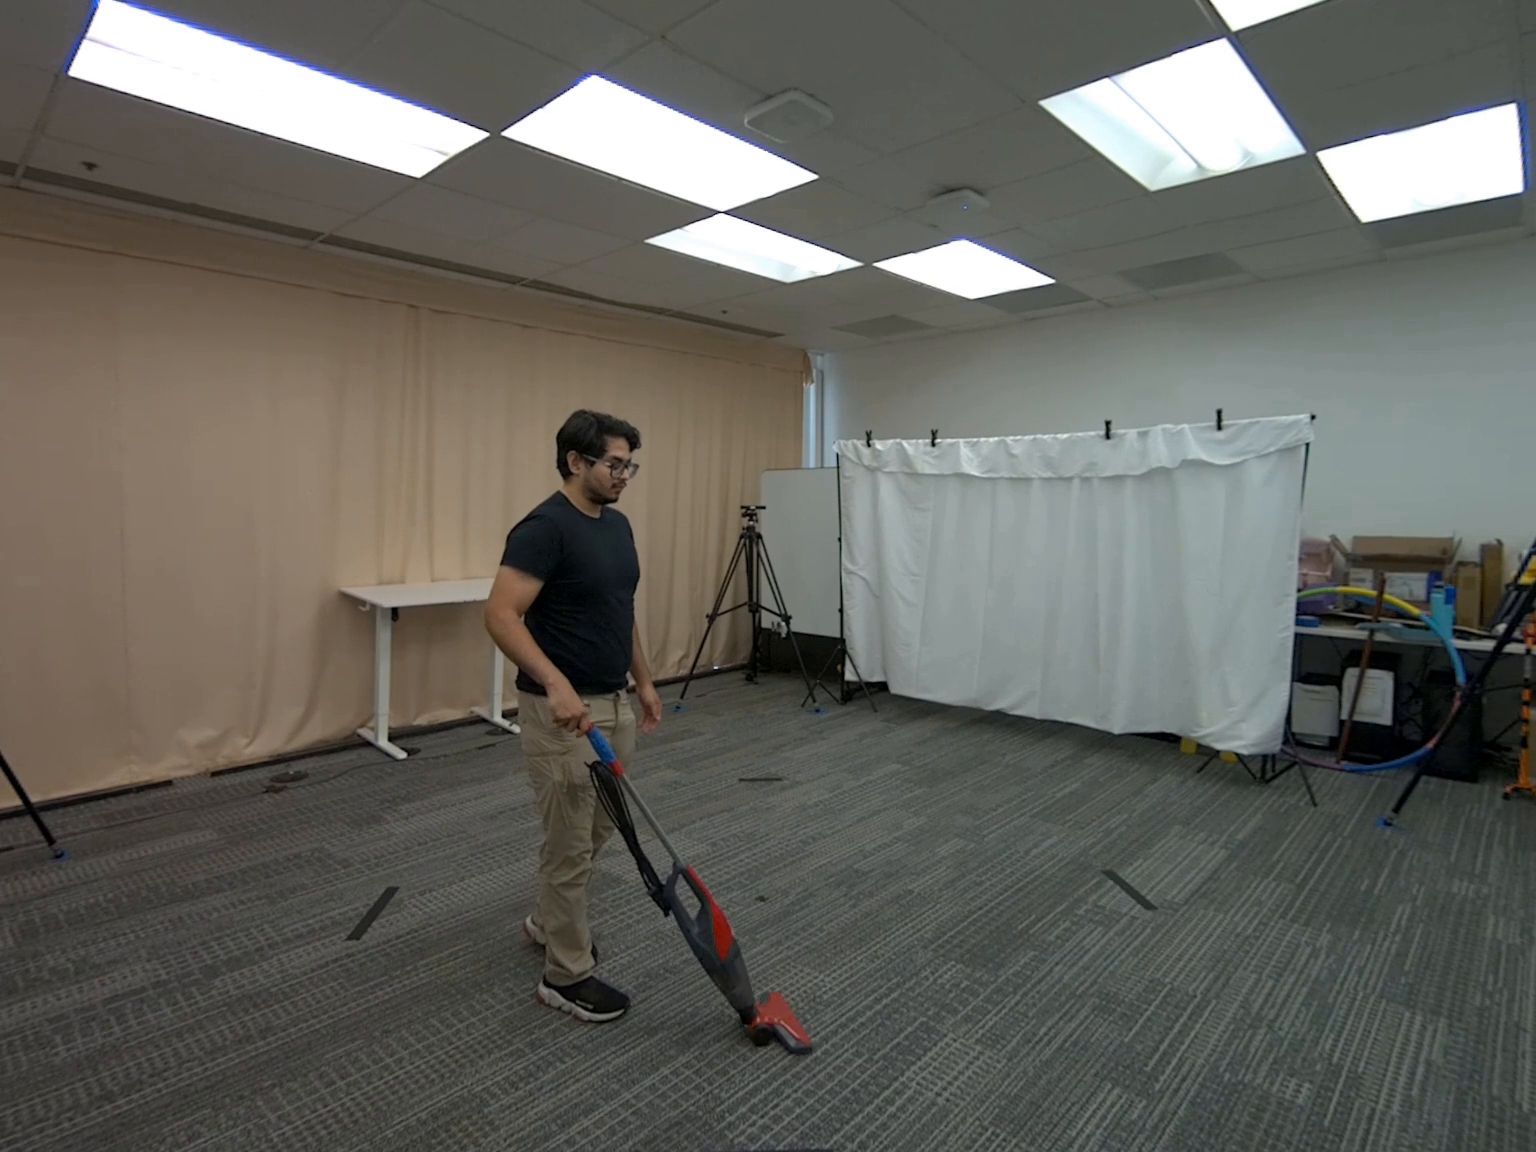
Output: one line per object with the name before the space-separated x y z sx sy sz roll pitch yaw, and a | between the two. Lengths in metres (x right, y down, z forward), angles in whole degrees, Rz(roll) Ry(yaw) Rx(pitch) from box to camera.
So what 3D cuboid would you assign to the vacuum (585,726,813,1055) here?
vacuum | -0.248 0.773 2.140 0.143 1.036 0.258 -34 12 -15
